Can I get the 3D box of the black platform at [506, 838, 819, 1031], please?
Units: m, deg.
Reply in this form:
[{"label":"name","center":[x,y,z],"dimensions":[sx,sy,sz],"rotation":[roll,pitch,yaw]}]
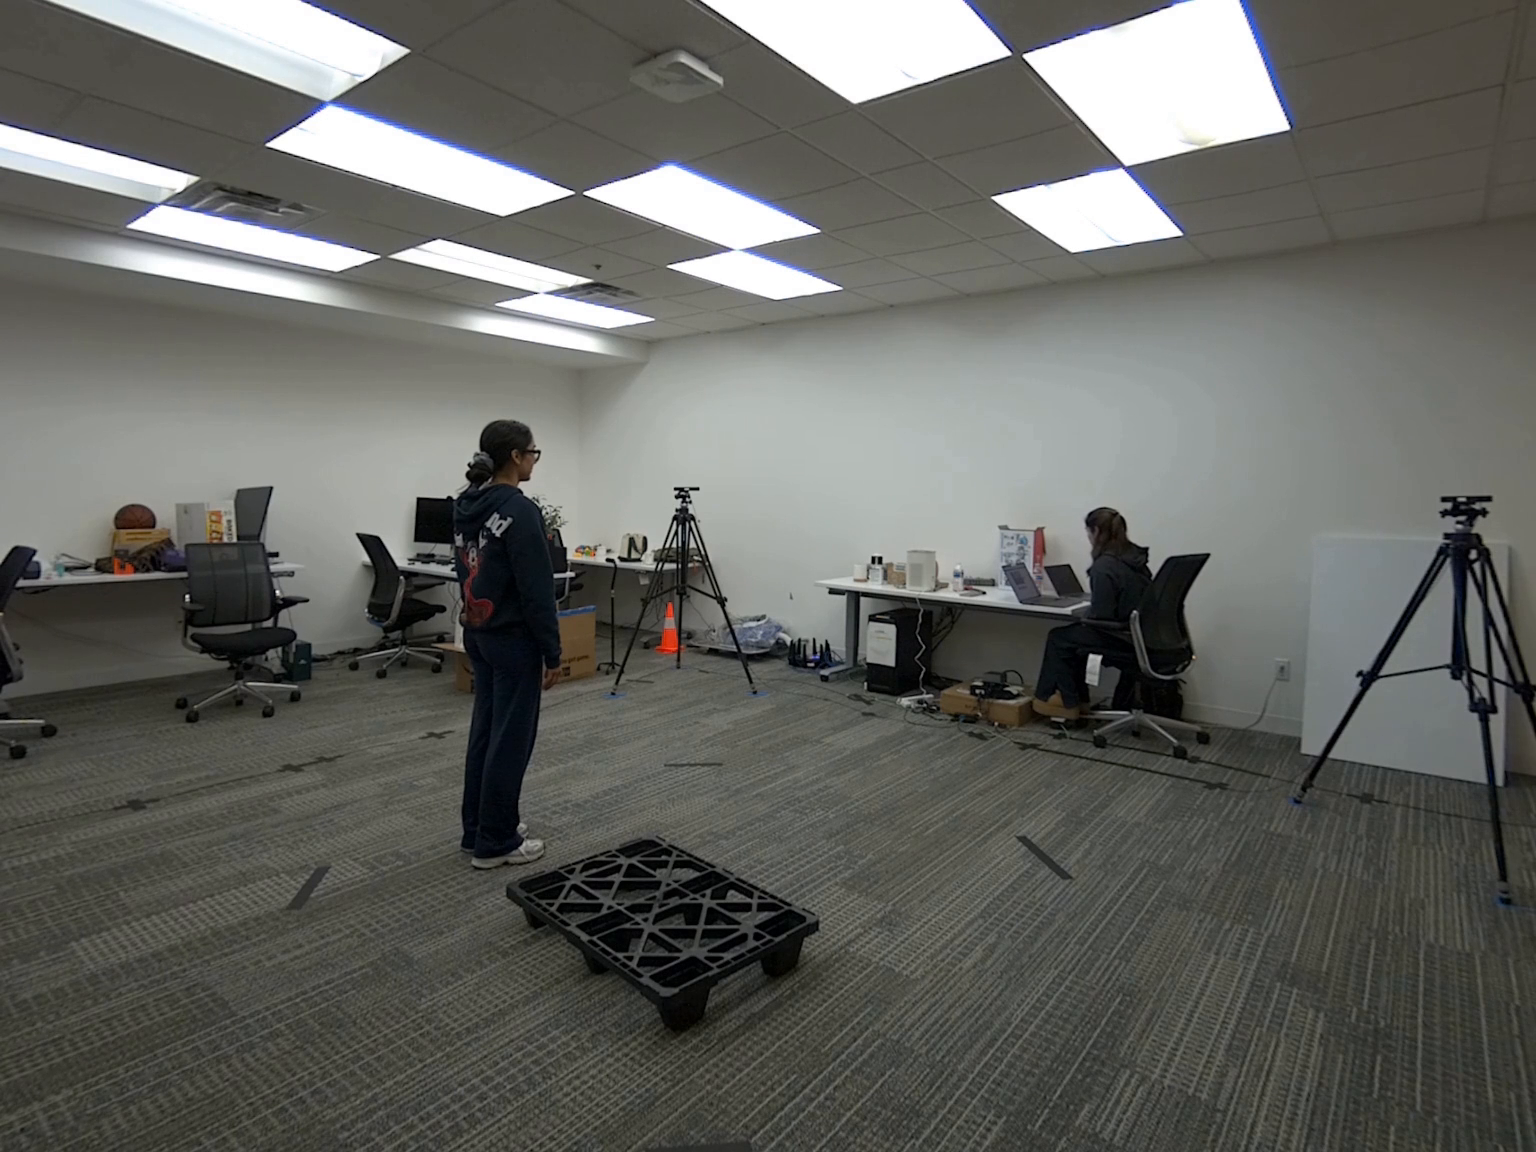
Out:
[{"label":"black platform","center":[-0.346,1.049,2.593],"dimensions":[0.587,0.143,0.833],"rotation":[-4,8,-44]}]
